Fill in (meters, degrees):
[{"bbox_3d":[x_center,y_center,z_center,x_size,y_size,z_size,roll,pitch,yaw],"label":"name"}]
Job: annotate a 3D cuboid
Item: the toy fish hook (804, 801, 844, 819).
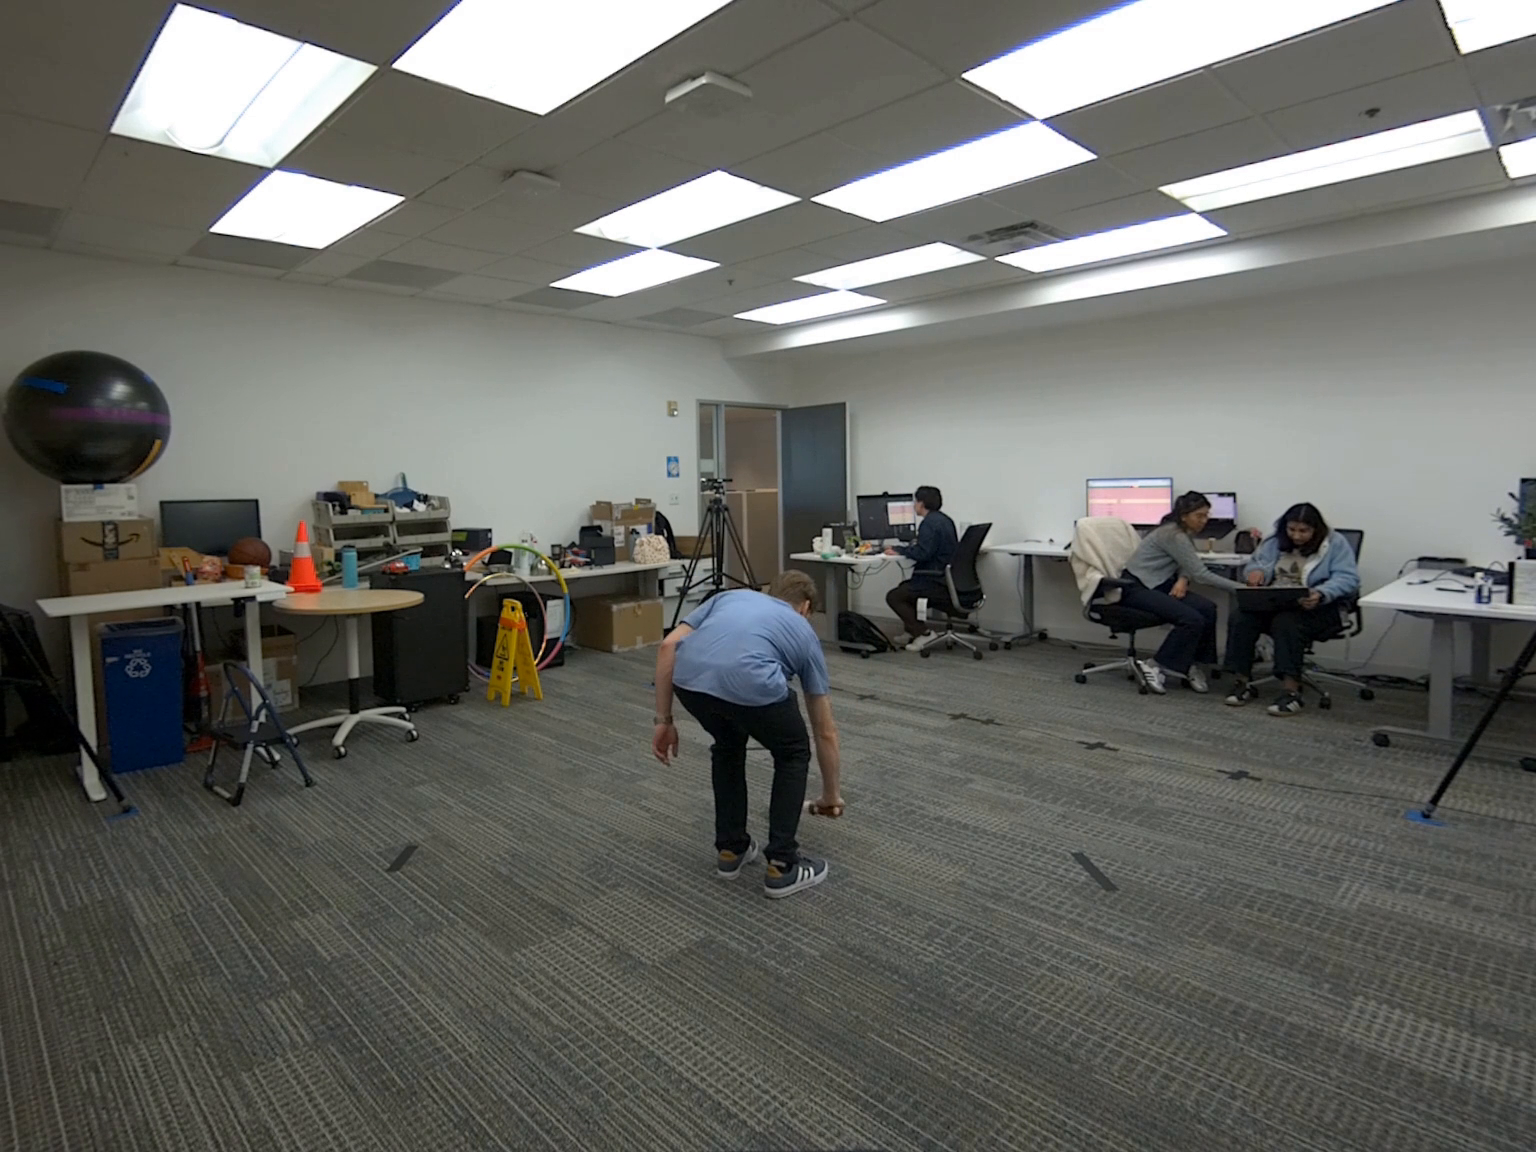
[{"bbox_3d":[0.187,0.914,3.406,0.219,0.049,0.514,-1,-8,-28],"label":"toy fish hook"}]
